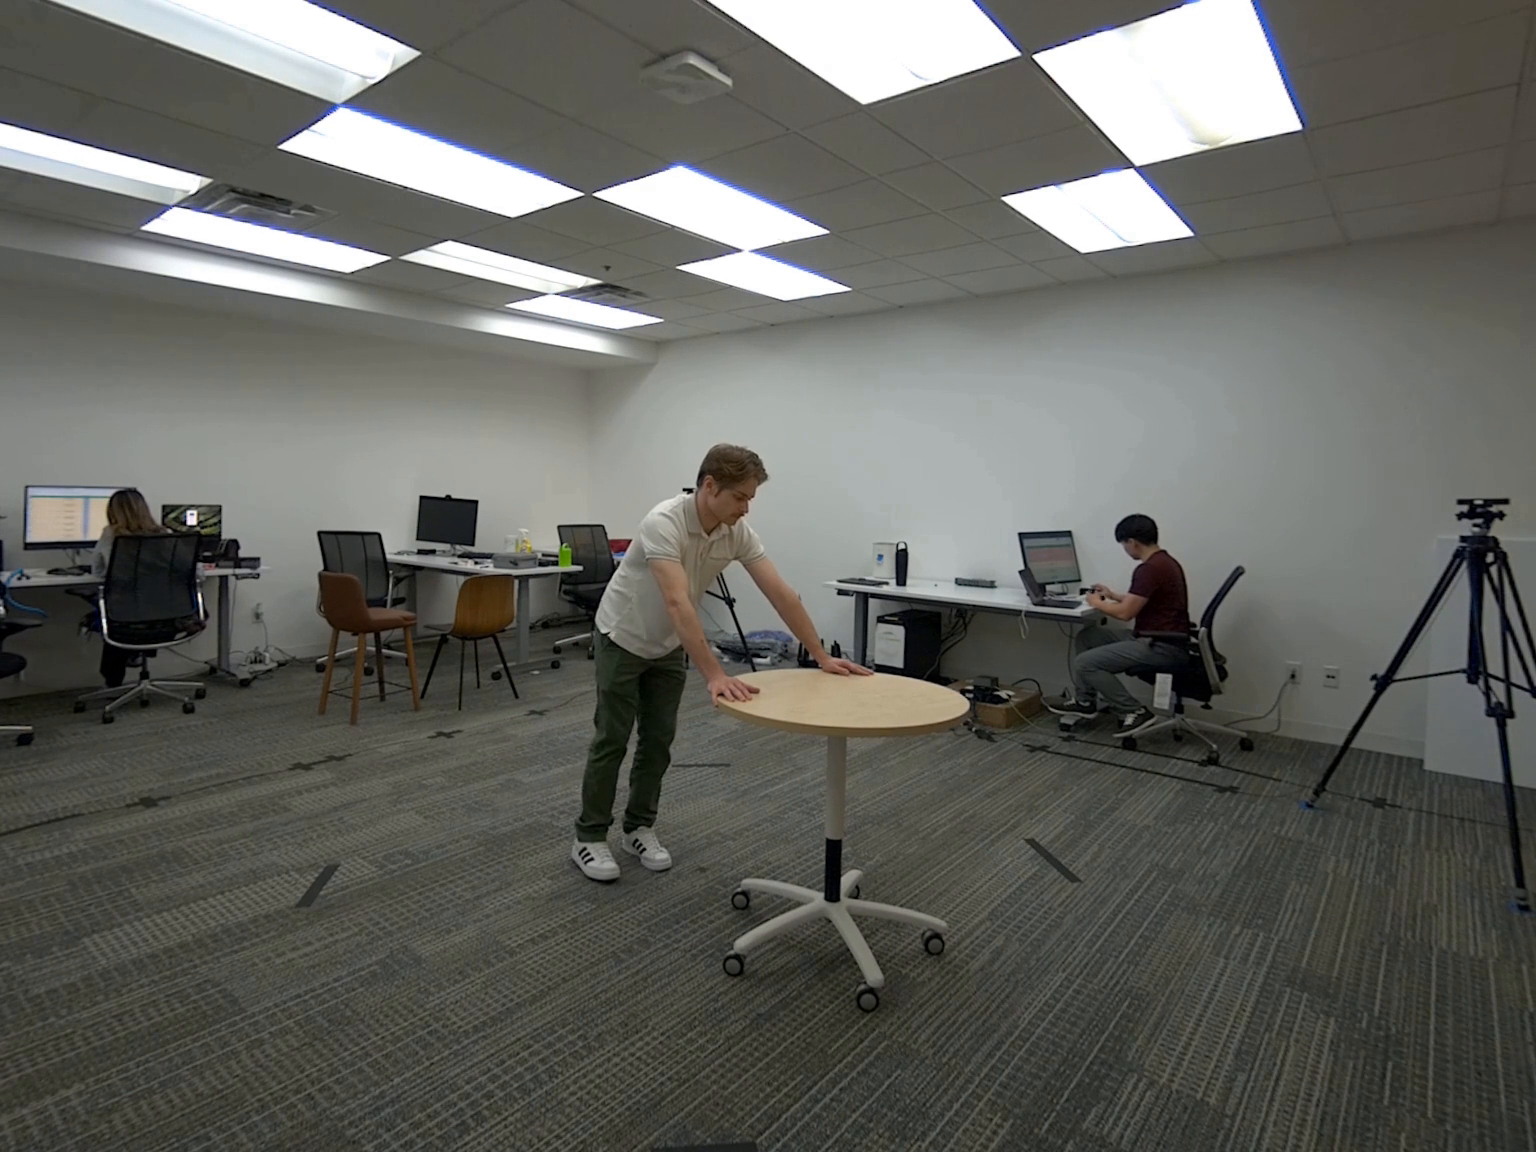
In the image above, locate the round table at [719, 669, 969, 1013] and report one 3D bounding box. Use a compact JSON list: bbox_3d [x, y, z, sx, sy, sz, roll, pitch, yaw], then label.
[{"bbox_3d":[0.195,0.744,2.595,0.763,0.791,0.768,2,4,-2],"label":"round table"}]
